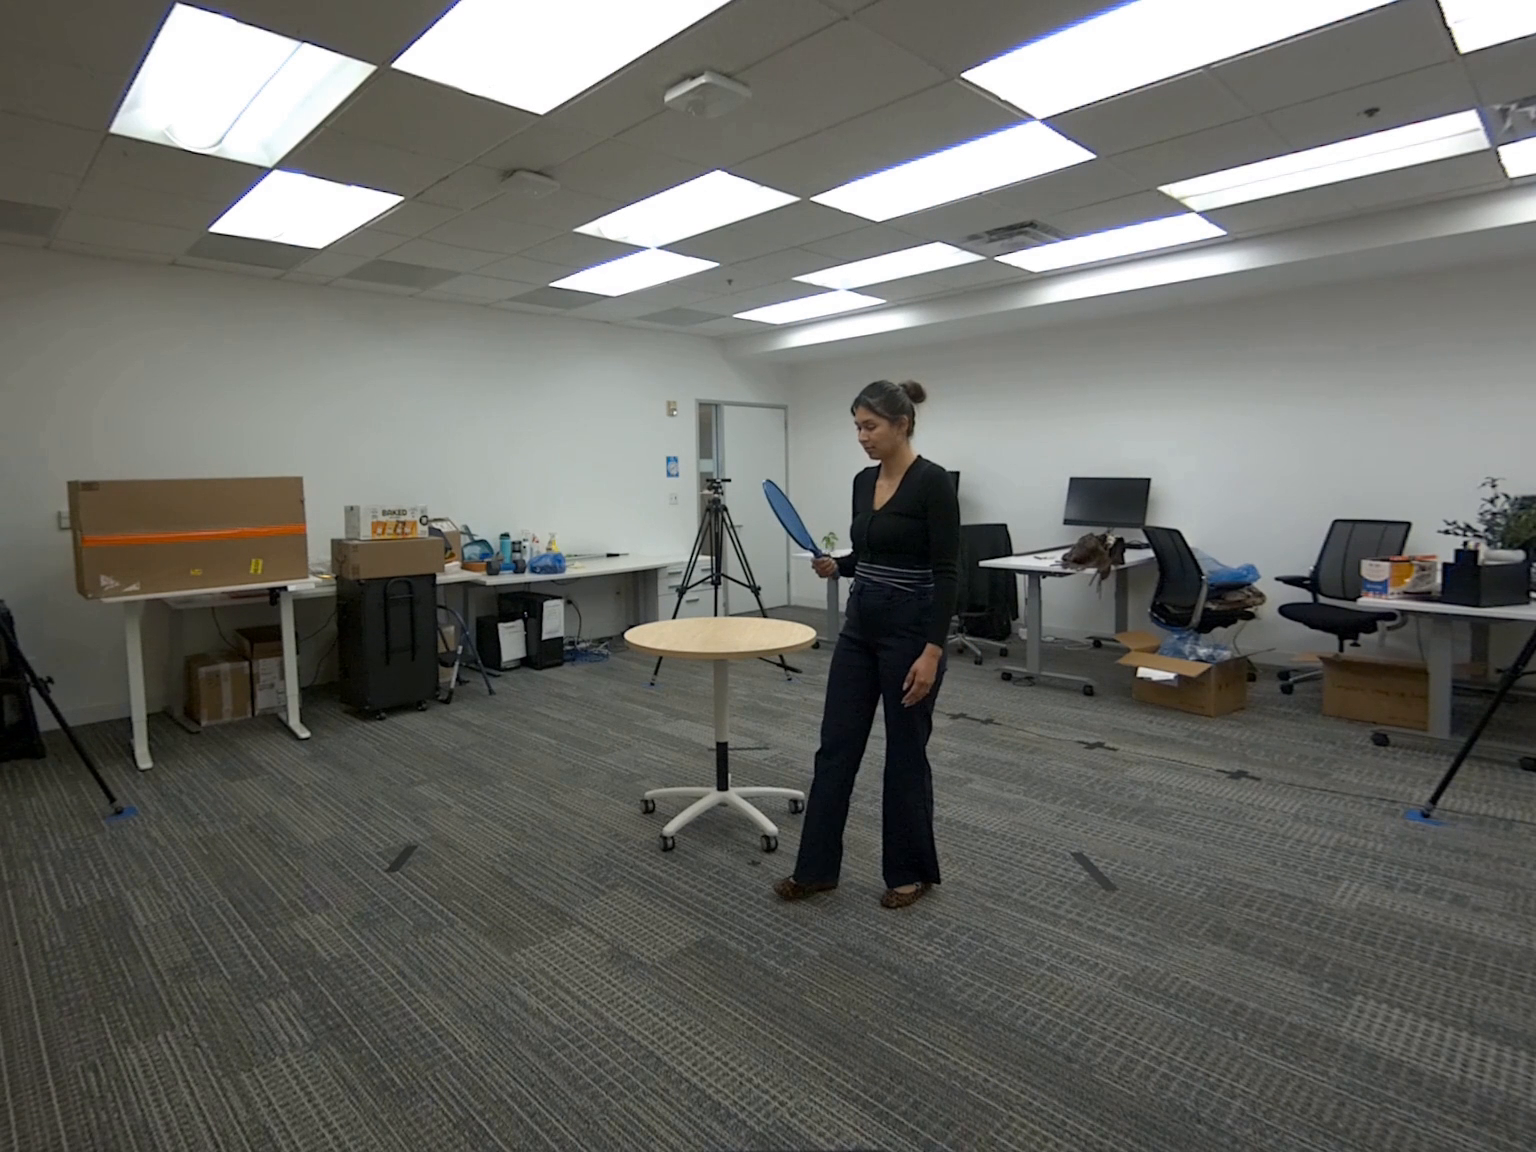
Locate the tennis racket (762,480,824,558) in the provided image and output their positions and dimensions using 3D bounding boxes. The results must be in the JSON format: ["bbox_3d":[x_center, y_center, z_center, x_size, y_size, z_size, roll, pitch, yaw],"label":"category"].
[{"bbox_3d":[0.105,-0.138,2.659,0.032,0.417,0.220,-26,38,19],"label":"tennis racket"}]
